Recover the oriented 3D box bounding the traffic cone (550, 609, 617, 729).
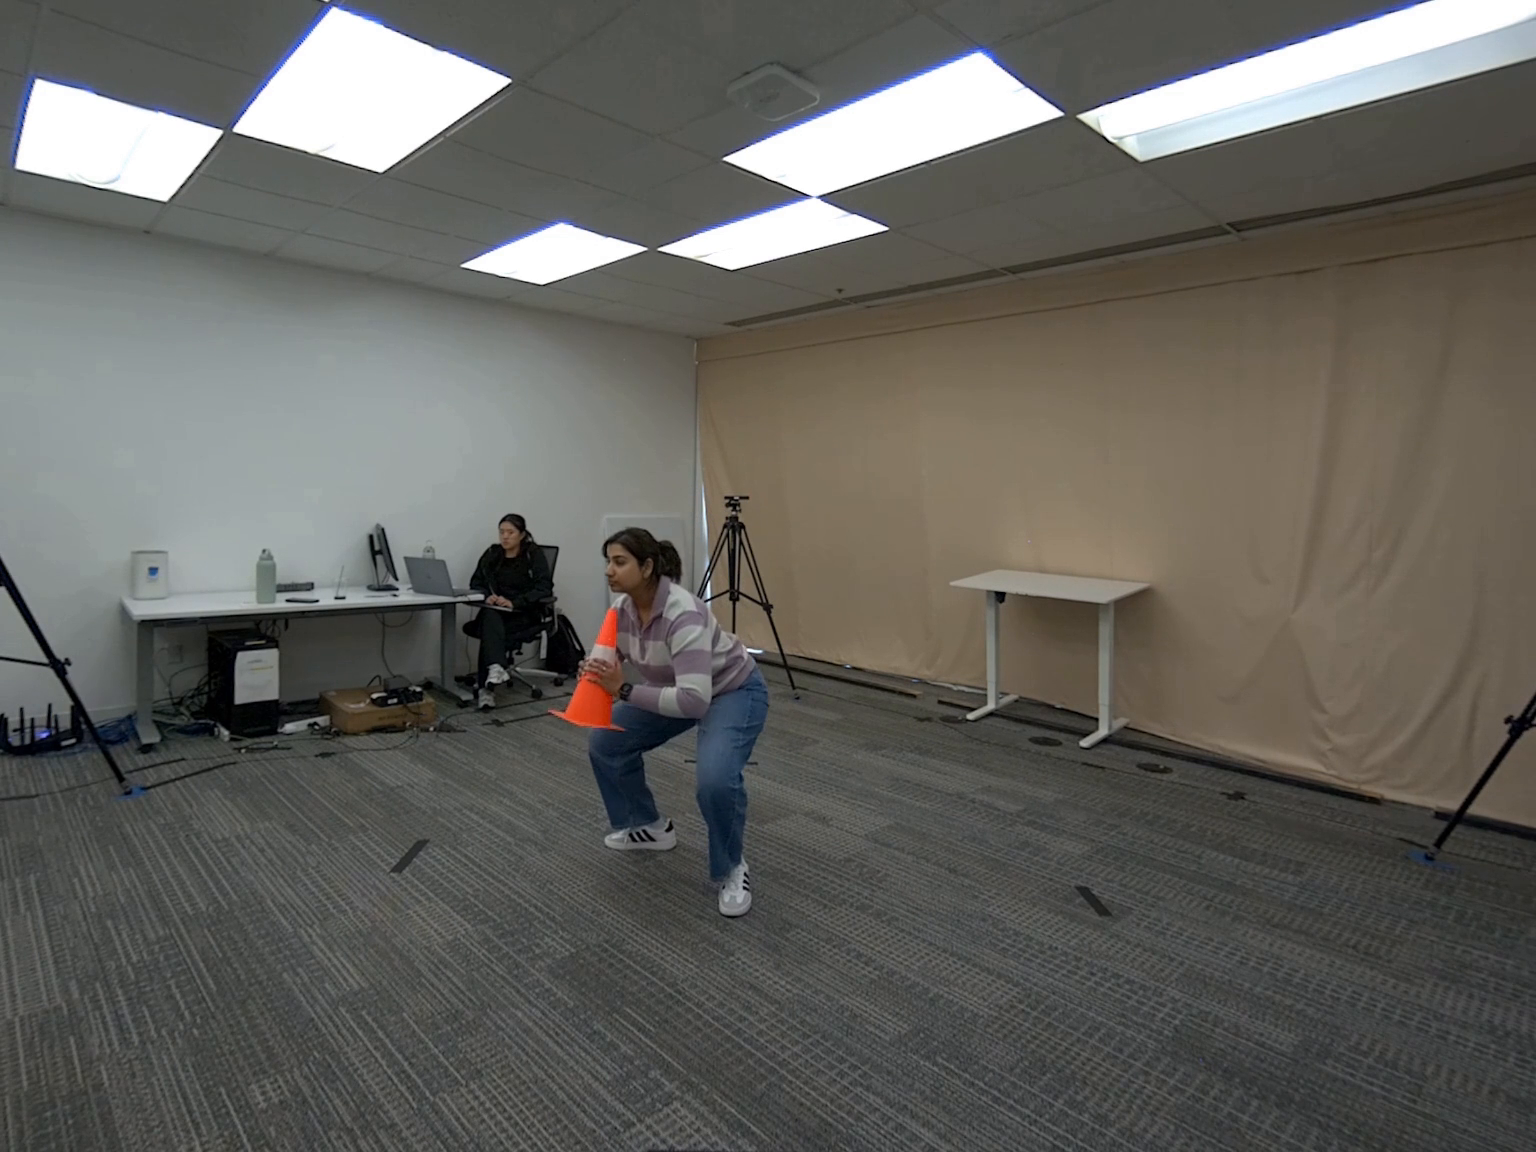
[{"bbox_3d":[-0.572,0.311,2.846,0.197,0.385,0.210,17,-7,-39],"label":"traffic cone"}]
